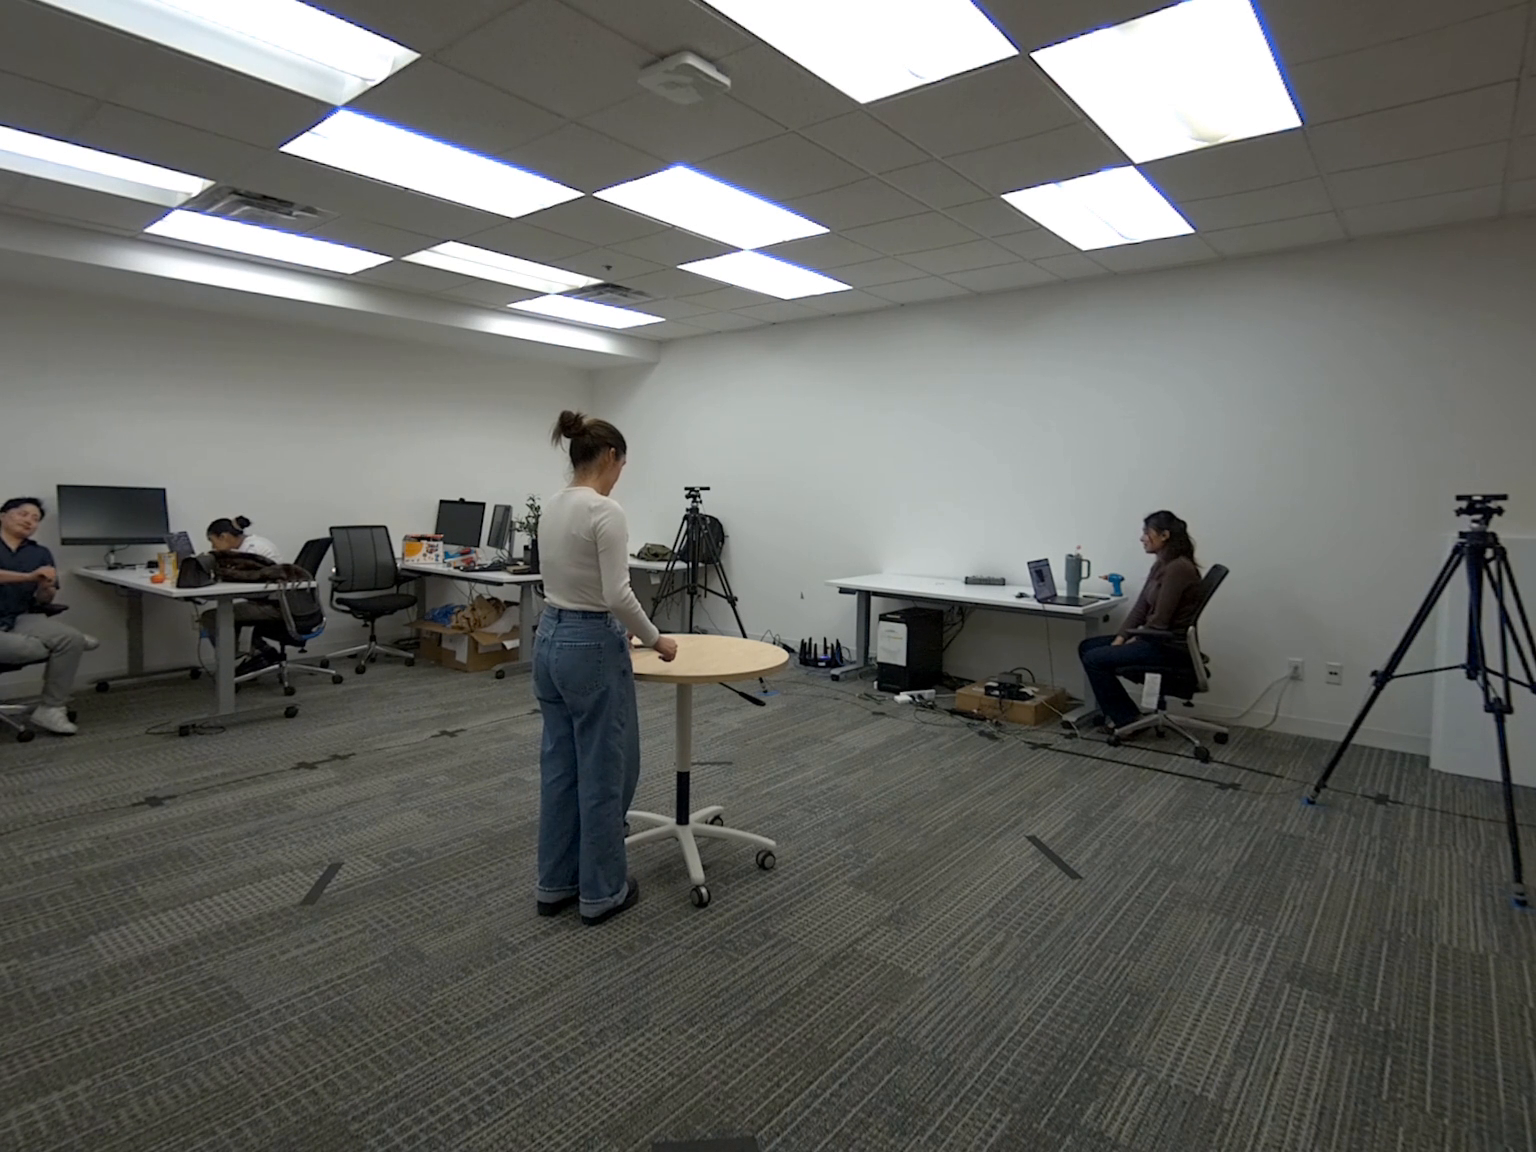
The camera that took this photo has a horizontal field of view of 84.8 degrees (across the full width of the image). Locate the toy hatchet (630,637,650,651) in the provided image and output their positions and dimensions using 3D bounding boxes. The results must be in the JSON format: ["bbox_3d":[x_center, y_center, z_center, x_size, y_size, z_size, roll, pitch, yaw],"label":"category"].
[{"bbox_3d":[-0.507,0.255,3.193,0.274,0.029,0.130,1,5,12],"label":"toy hatchet"}]
